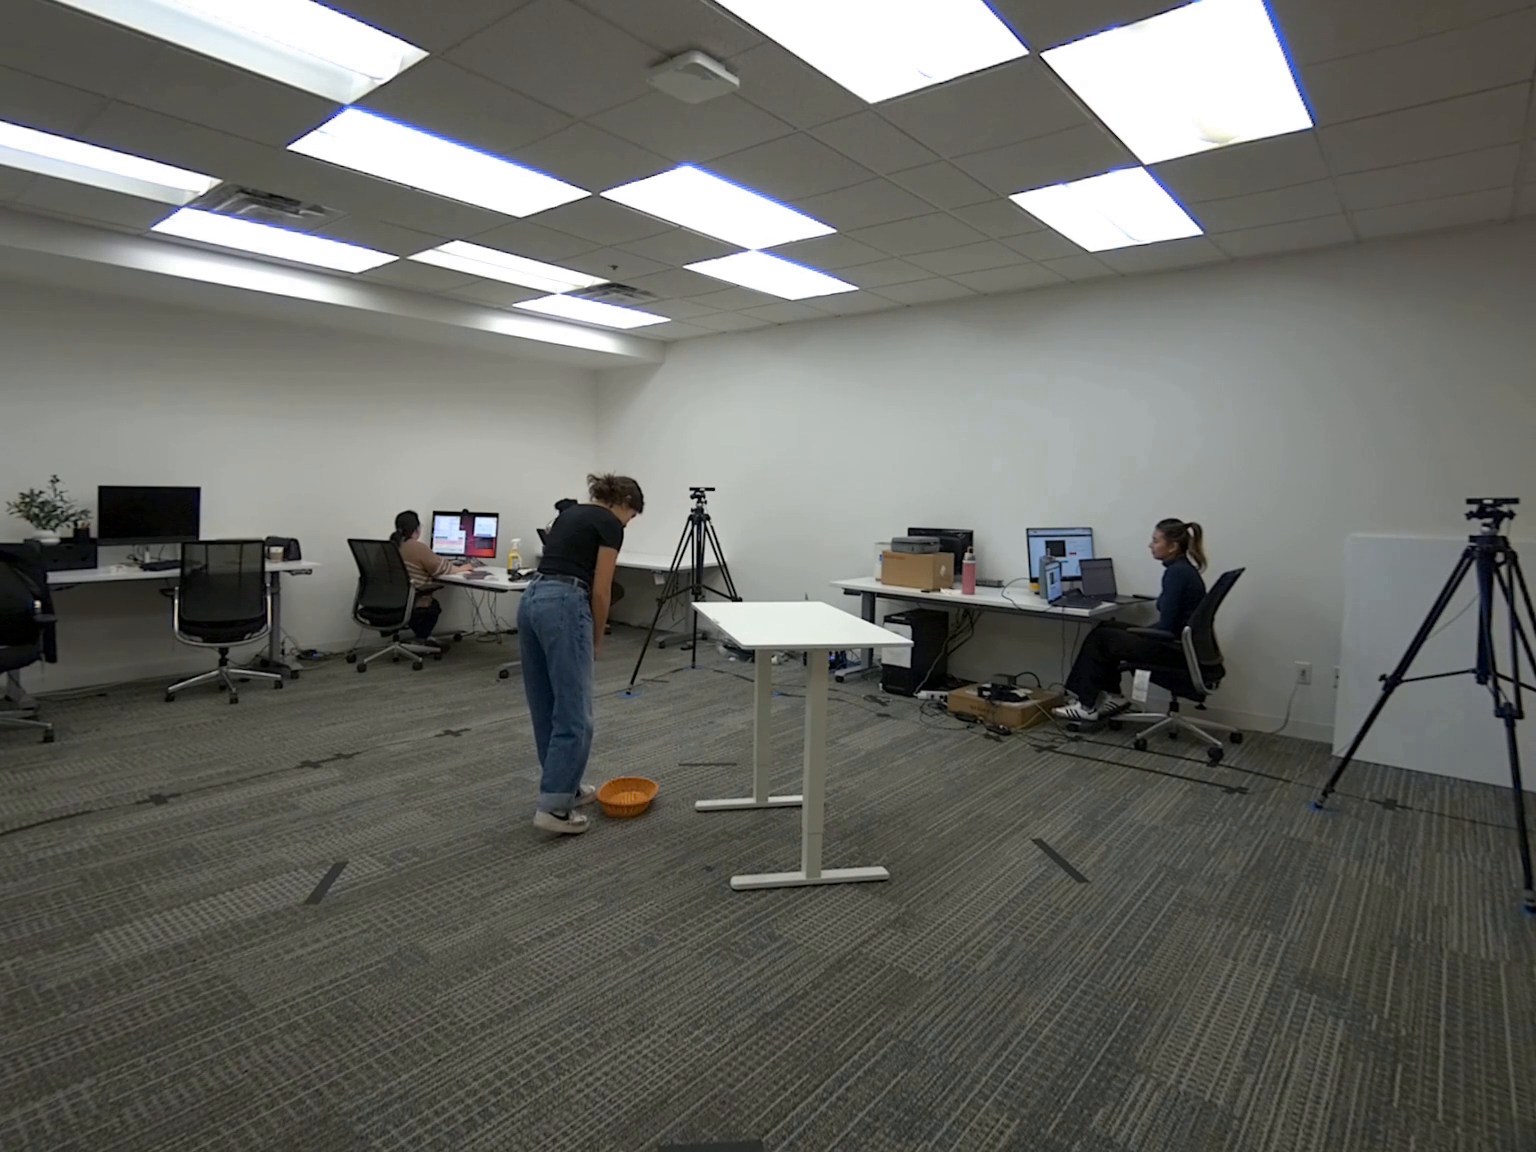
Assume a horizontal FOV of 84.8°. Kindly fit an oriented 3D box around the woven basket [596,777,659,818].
[{"bbox_3d":[-0.622,0.960,3.705,0.255,0.073,0.348,3,6,7],"label":"woven basket"}]
